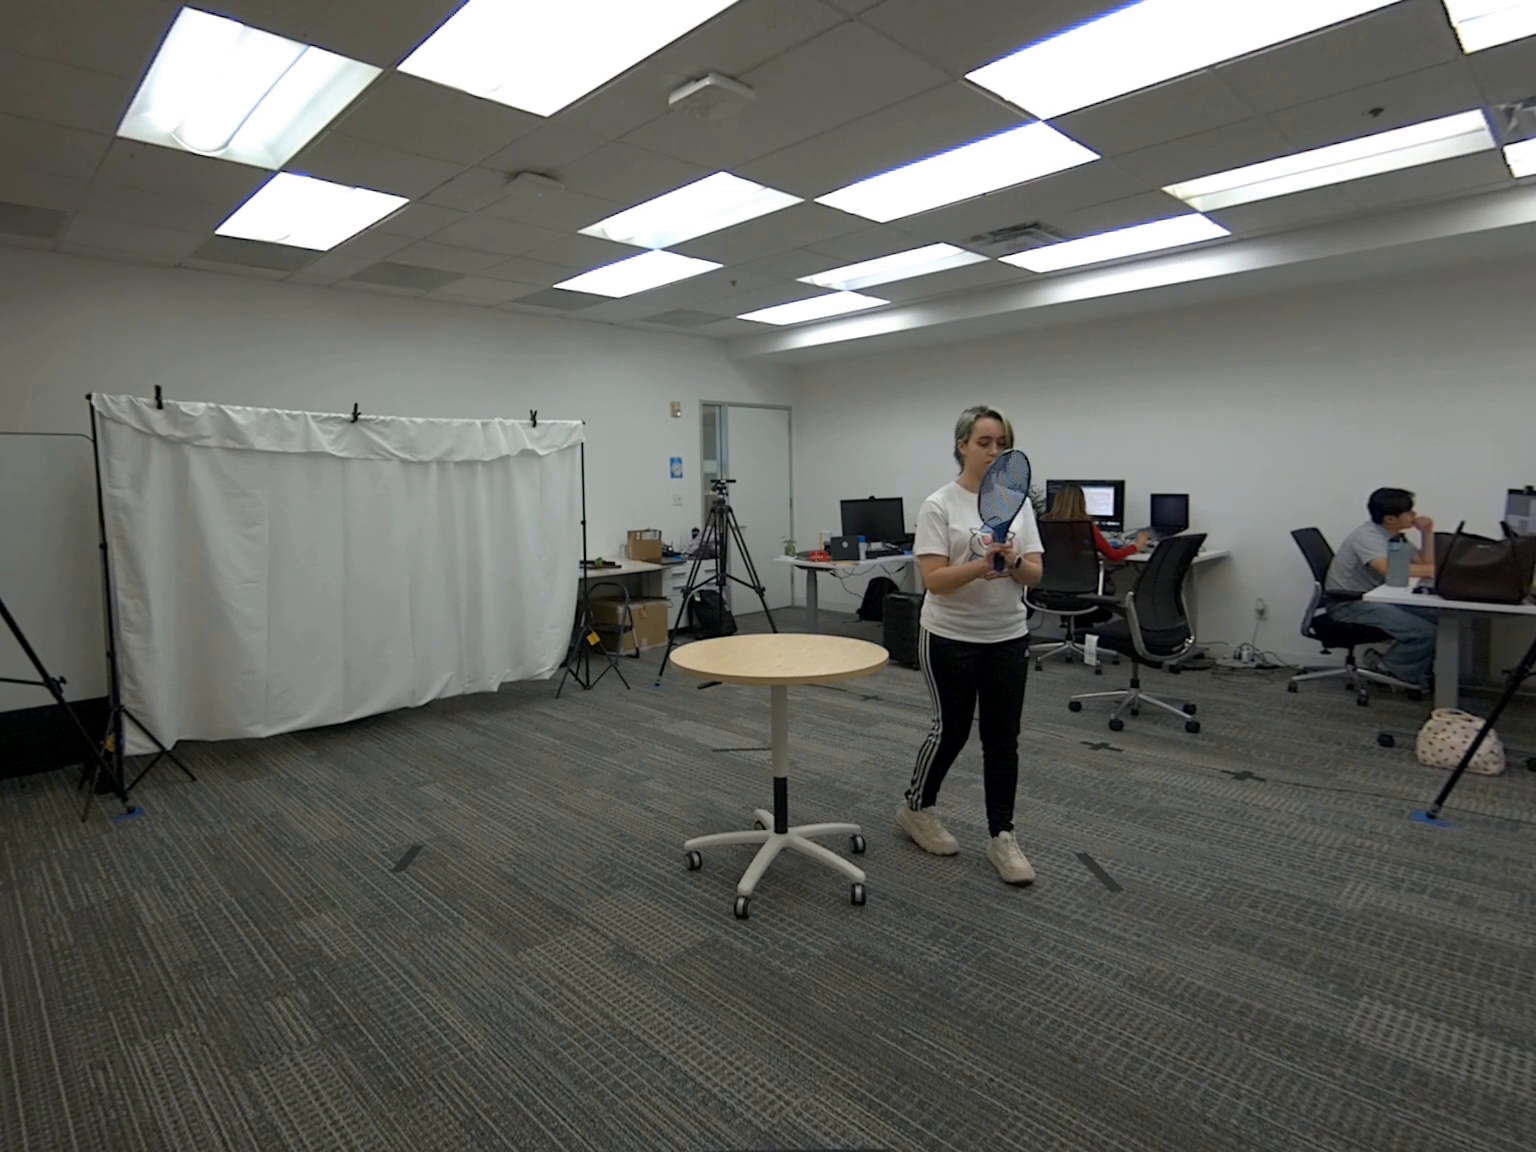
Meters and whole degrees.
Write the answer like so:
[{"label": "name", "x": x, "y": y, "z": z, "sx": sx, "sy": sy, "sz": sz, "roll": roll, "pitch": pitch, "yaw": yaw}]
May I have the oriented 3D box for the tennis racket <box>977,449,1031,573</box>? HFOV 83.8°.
[{"label": "tennis racket", "x": 0.737, "y": -0.197, "z": 2.673, "sx": 0.211, "sy": 0.421, "sz": 0.033, "roll": -21, "pitch": 34, "yaw": -20}]
